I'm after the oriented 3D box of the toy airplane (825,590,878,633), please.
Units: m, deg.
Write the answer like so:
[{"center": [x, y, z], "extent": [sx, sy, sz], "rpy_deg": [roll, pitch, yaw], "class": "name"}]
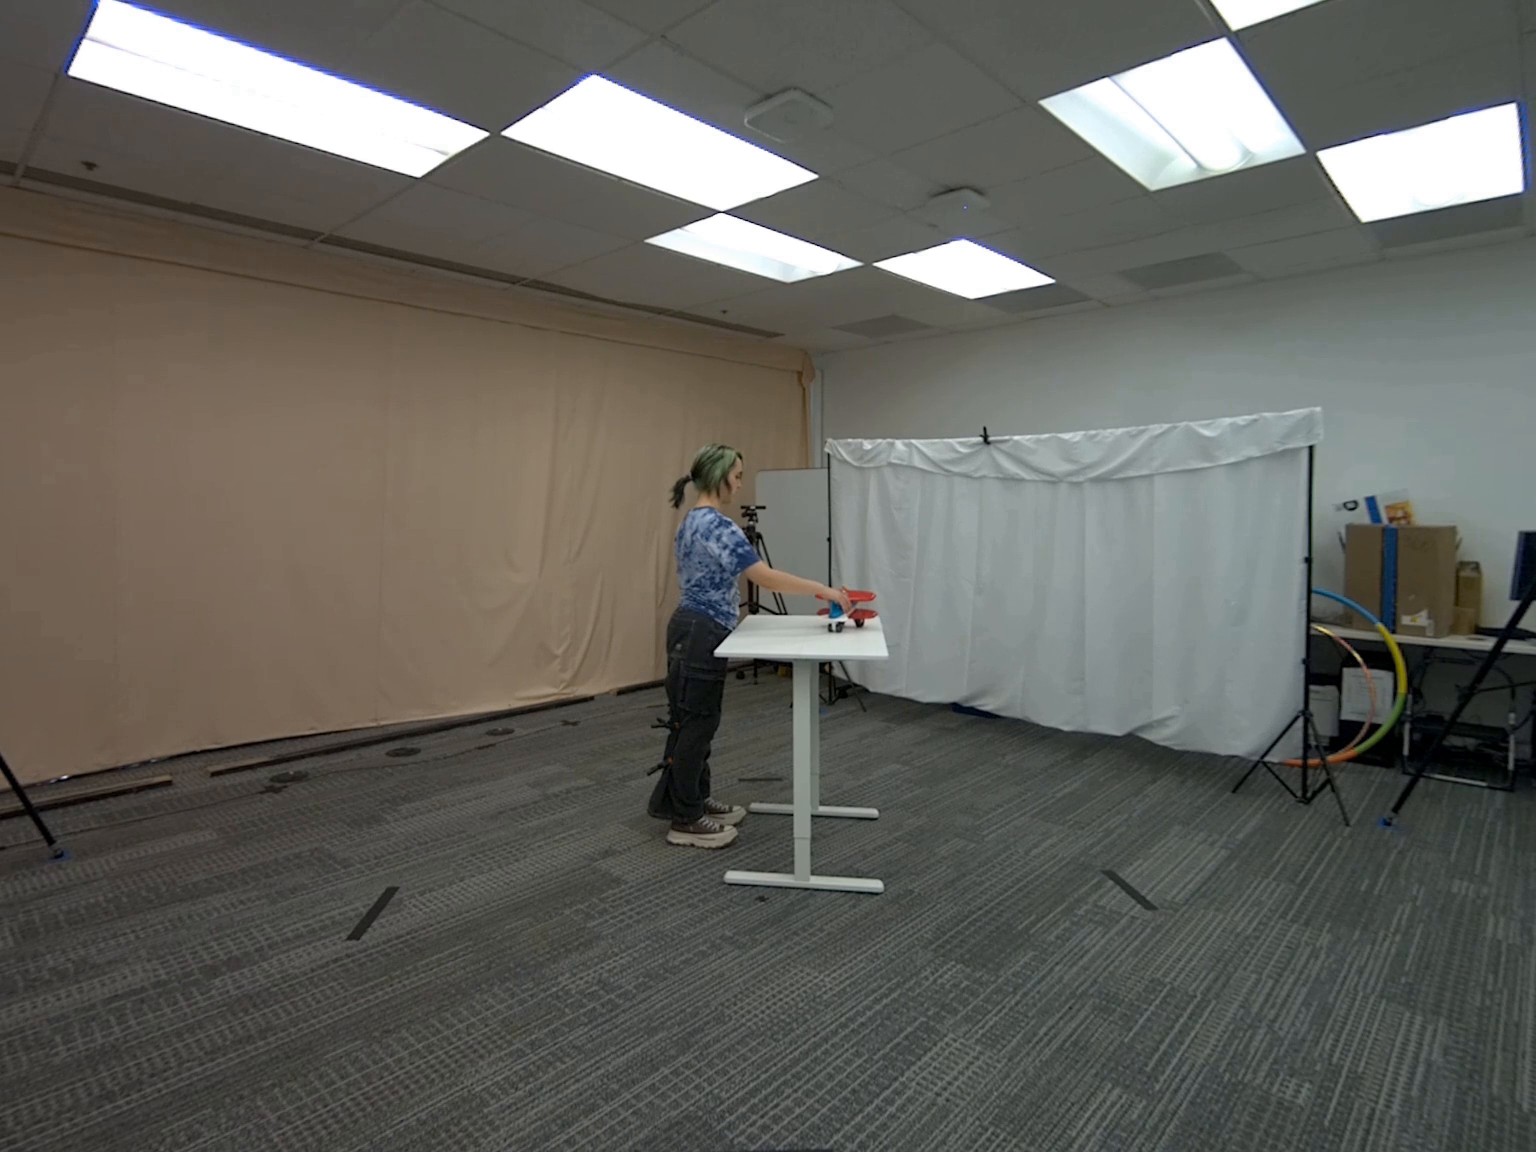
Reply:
[{"center": [0.333, 0.143, 3.460], "extent": [0.251, 0.156, 0.259], "rpy_deg": [0, 3, -1], "class": "toy airplane"}]
